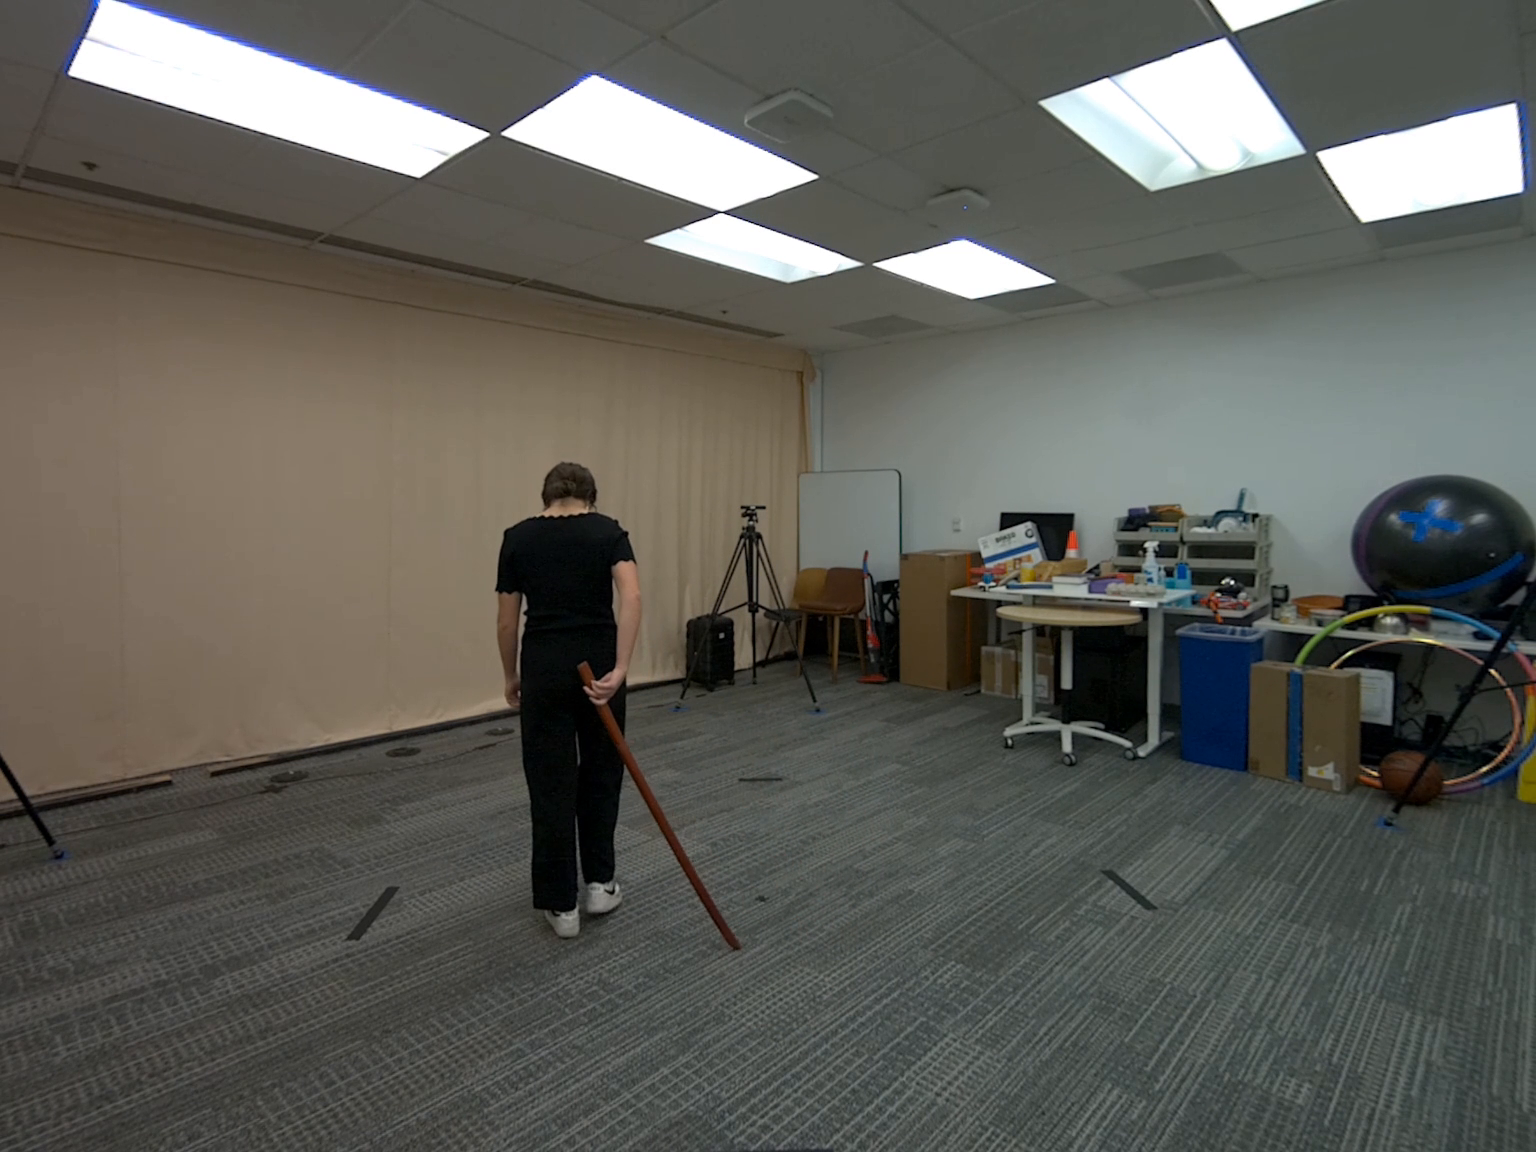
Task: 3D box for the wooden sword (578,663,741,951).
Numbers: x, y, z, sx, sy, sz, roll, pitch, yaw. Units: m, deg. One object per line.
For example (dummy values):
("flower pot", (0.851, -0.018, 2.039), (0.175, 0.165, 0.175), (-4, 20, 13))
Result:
("wooden sword", (-0.331, 0.735, 2.597), (0.024, 1.019, 0.050), (-25, 6, 44))
